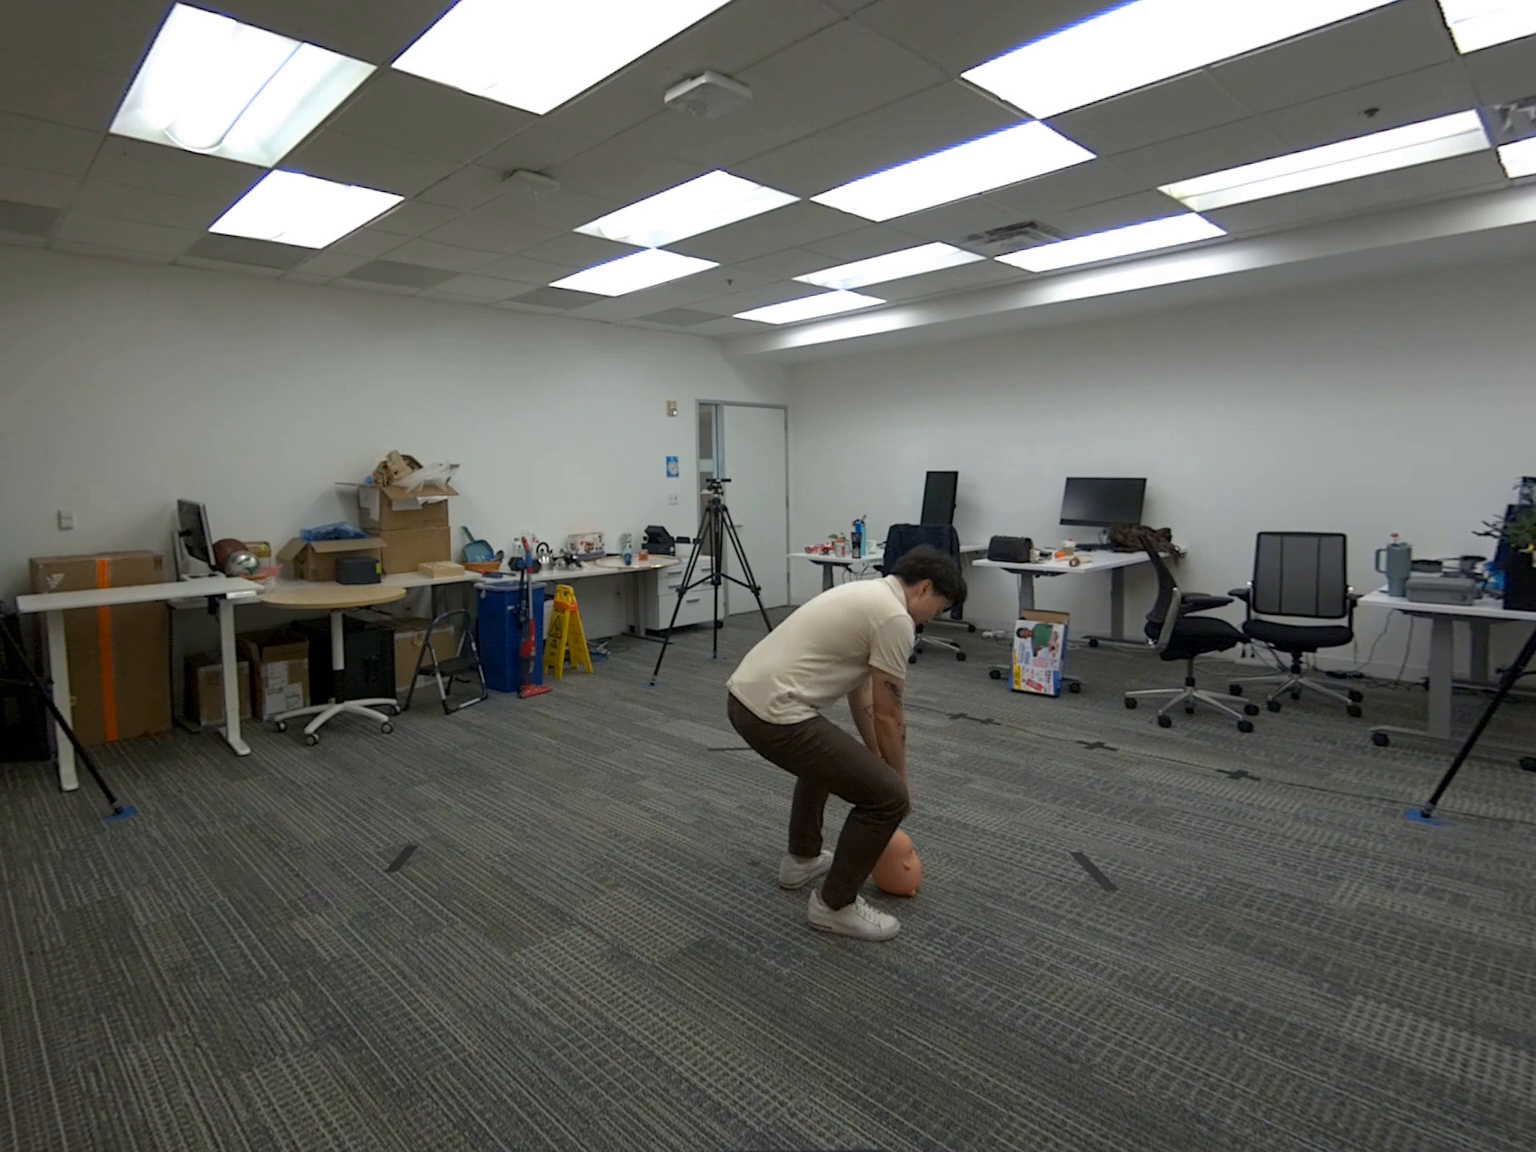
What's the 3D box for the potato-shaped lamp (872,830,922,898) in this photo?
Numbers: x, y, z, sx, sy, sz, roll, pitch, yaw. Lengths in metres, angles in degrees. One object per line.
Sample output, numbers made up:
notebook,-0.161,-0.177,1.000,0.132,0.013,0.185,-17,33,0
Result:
potato-shaped lamp,0.440,0.961,2.889,0.174,0.197,0.163,2,5,15
